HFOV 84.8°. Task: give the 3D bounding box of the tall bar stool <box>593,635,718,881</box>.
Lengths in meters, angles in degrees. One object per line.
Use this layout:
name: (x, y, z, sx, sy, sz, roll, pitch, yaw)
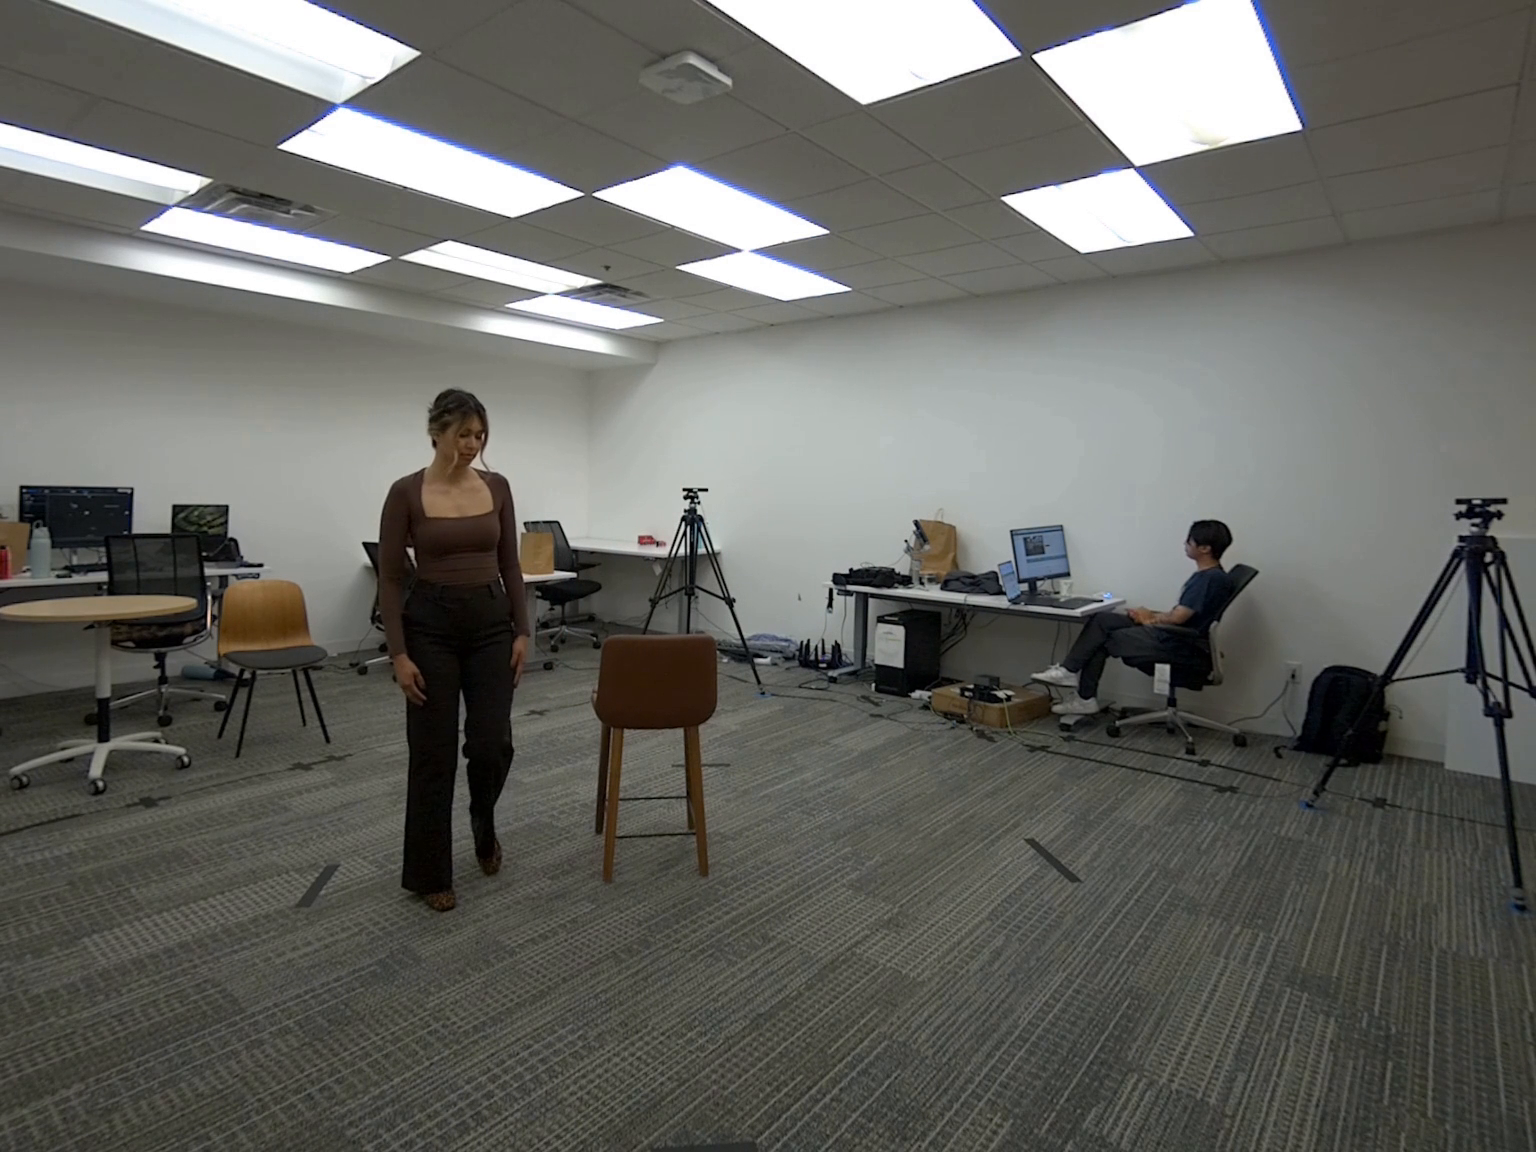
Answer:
tall bar stool: (-0.454, 0.618, 3.218, 0.451, 0.886, 0.475, 0, 4, -12)
